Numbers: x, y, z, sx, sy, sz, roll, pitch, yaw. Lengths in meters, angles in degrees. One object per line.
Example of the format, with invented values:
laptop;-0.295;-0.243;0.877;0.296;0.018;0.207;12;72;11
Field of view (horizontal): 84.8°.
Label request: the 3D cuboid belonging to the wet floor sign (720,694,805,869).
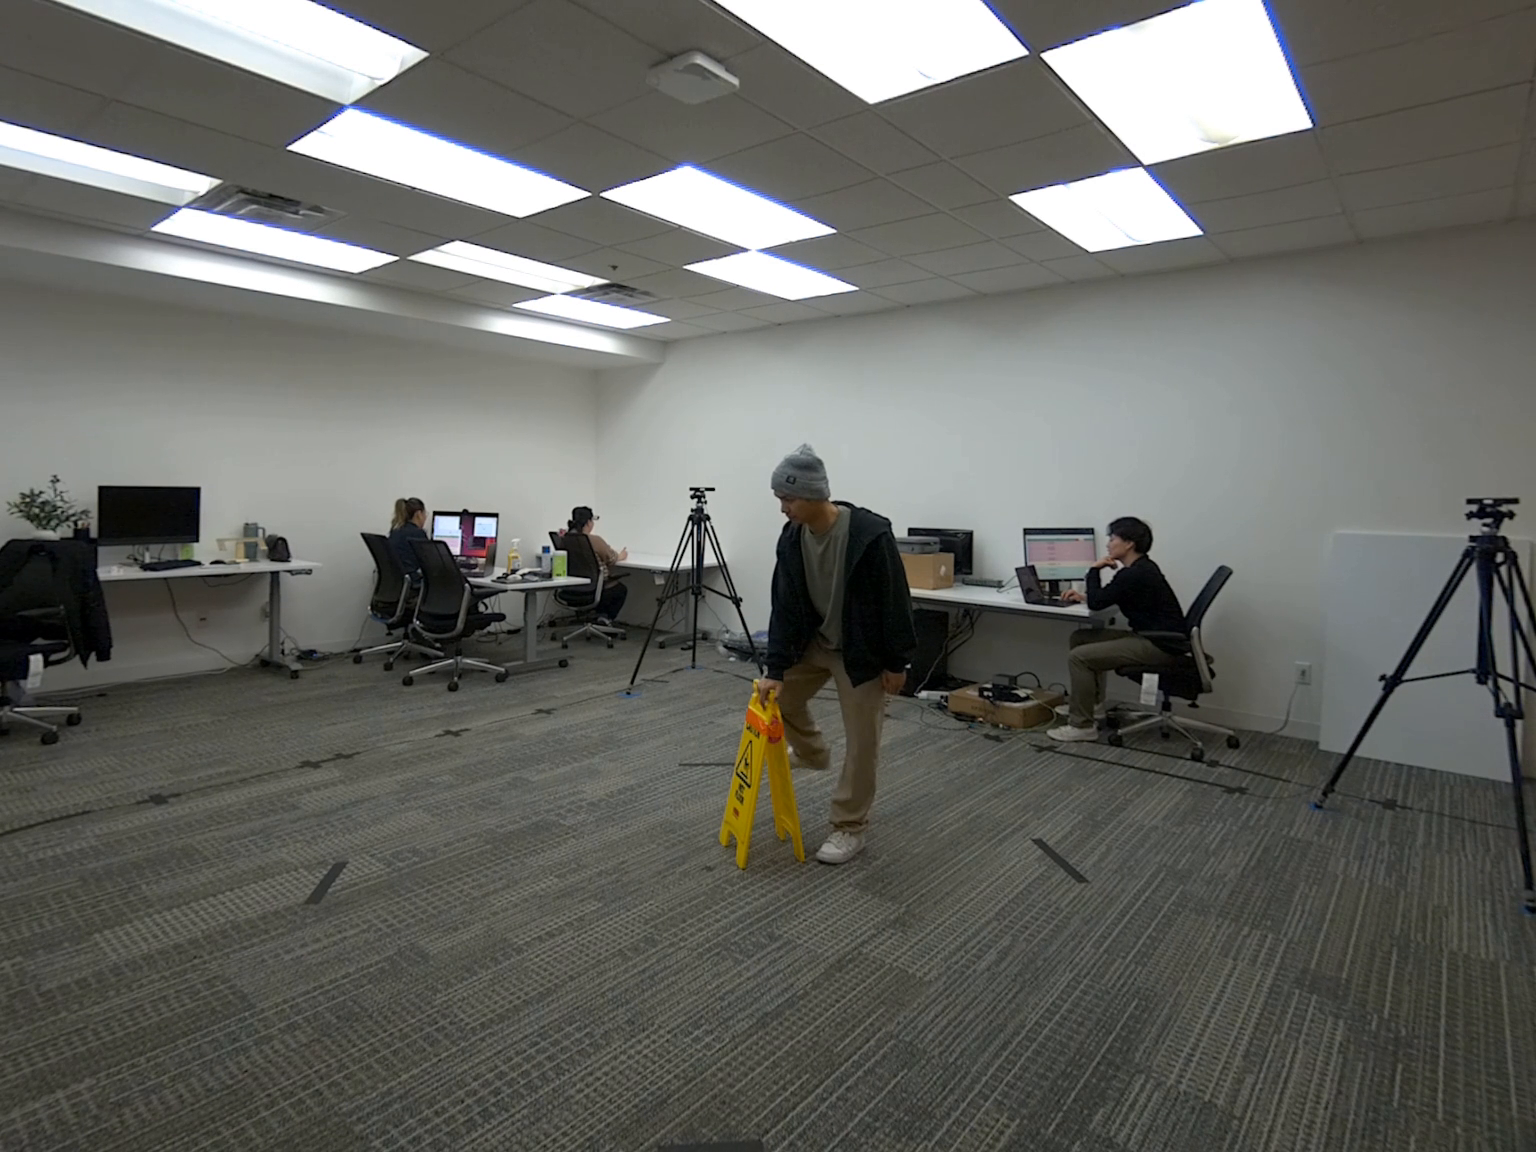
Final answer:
wet floor sign;-0.024;0.728;3.259;0.284;0.643;0.288;0;5;-18
